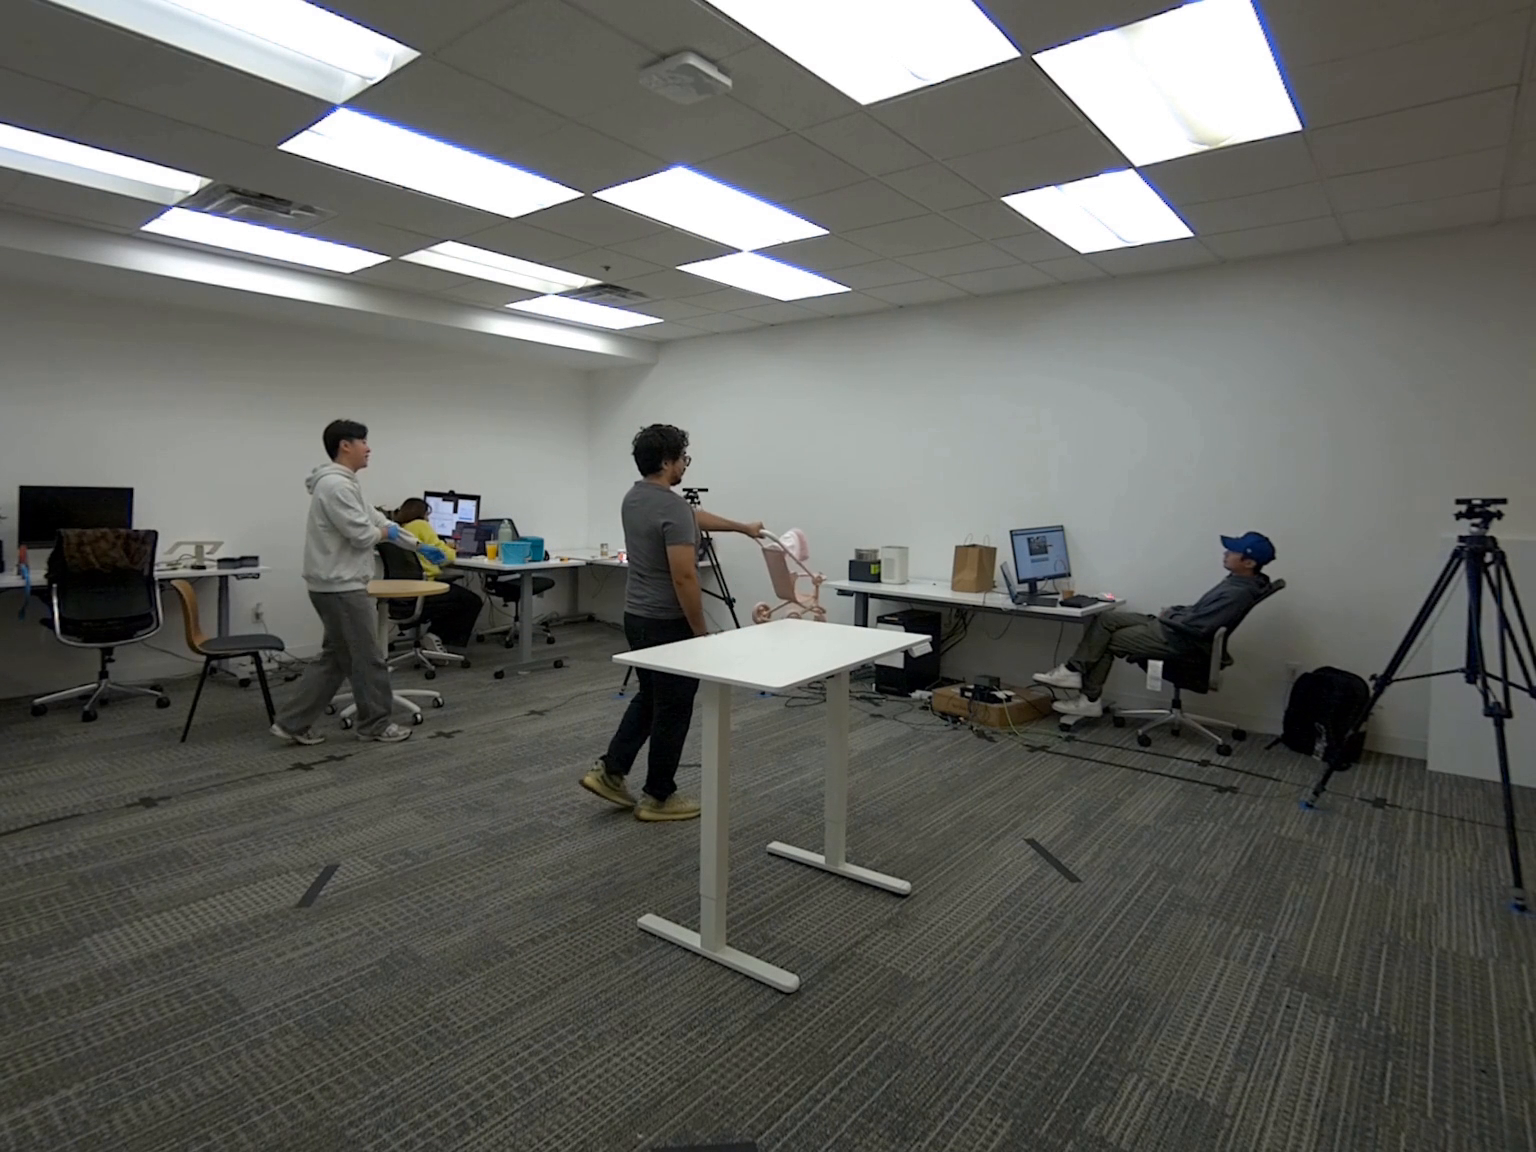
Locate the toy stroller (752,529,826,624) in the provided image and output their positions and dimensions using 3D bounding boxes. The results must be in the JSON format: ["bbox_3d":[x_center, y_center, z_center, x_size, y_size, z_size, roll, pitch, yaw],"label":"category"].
[{"bbox_3d":[0.100,0.020,3.971,0.334,0.531,0.289,-11,8,-27],"label":"toy stroller"}]
